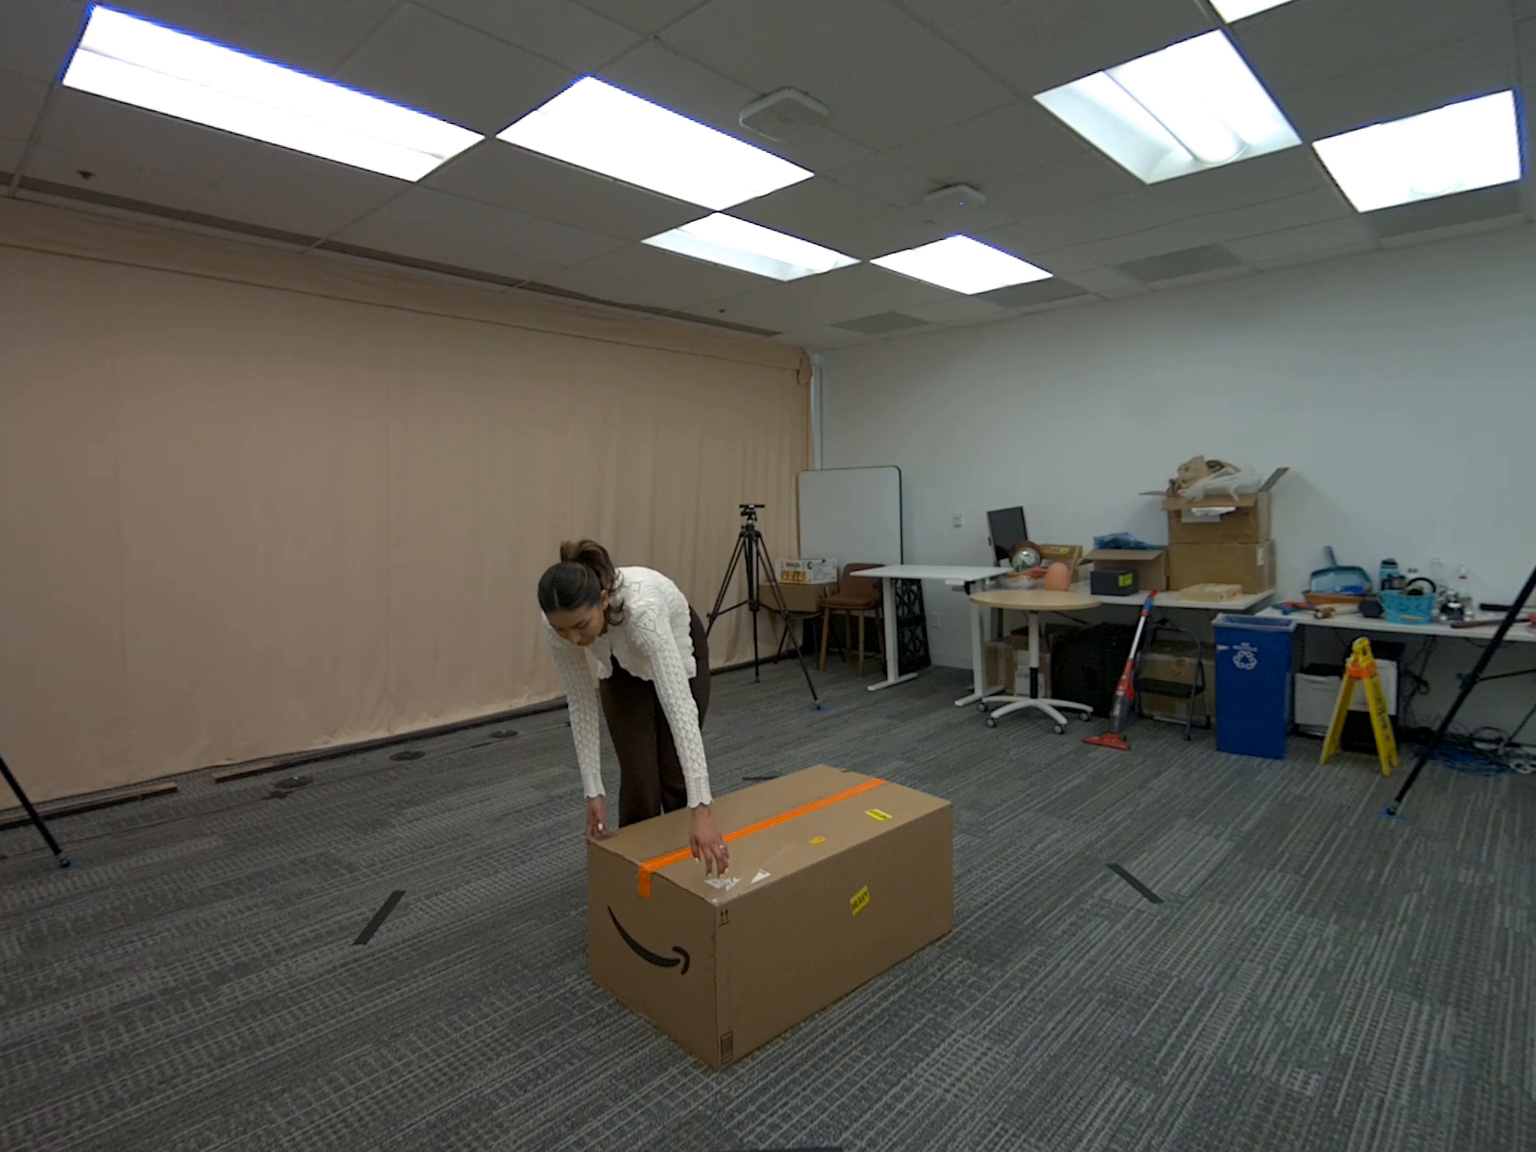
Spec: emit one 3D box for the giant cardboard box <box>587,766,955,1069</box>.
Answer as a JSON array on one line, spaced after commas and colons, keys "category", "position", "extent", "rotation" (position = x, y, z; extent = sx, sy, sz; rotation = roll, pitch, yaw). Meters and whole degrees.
[{"category": "giant cardboard box", "position": [0.041, 0.957, 2.597], "extent": [0.995, 0.425, 0.597], "rotation": [-5, 6, -43]}]
